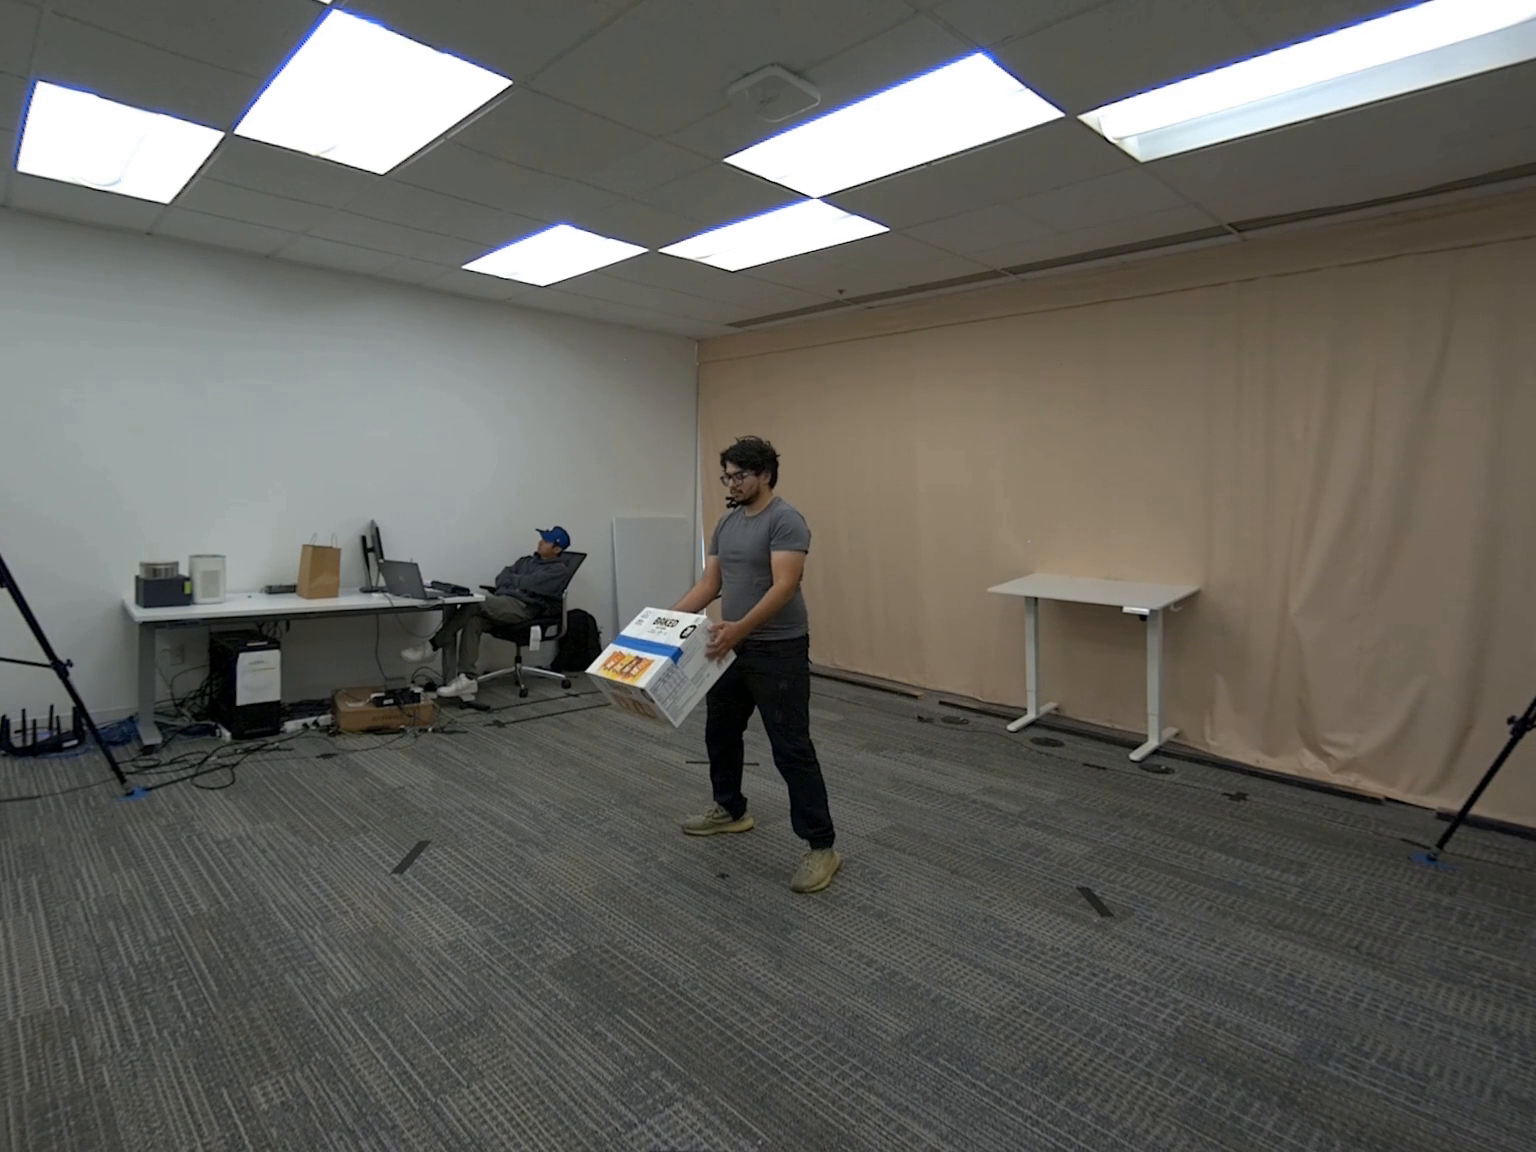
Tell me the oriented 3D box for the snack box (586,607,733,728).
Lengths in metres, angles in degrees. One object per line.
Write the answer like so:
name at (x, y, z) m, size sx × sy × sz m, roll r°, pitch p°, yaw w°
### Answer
snack box at (-0.390, 0.318, 3.007) m, size 0.415 × 0.201 × 0.340 m, roll 3°, pitch 45°, yaw 50°
